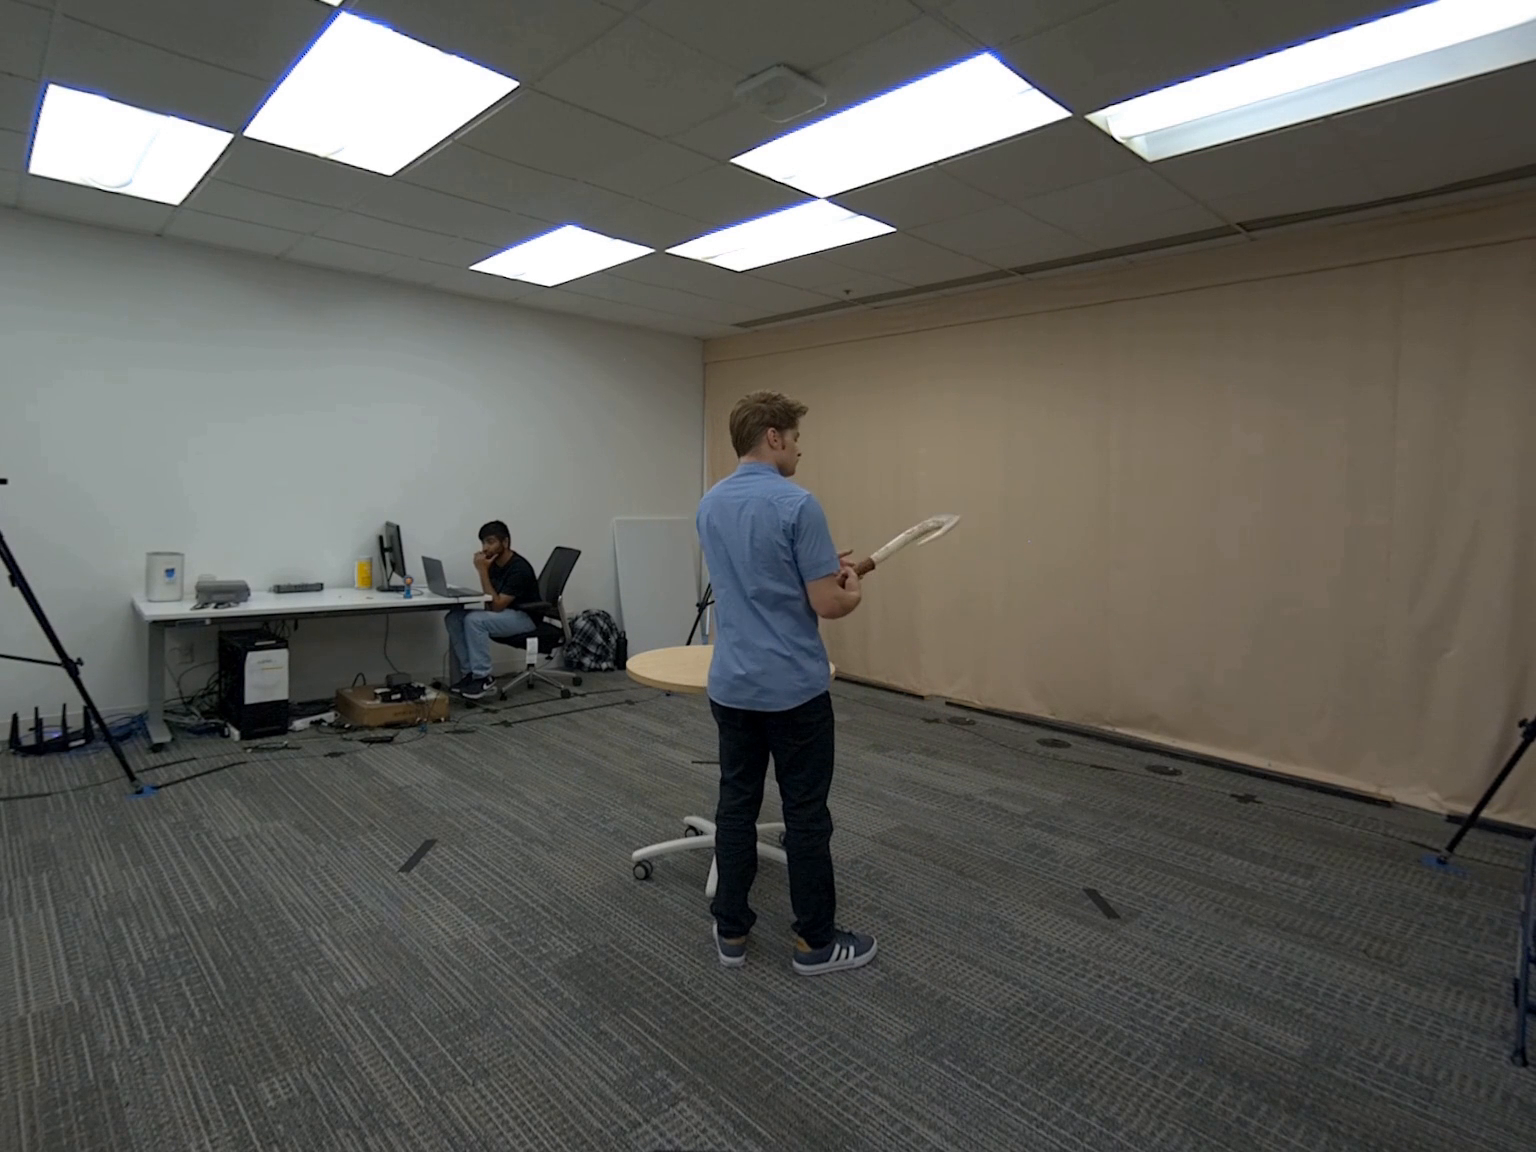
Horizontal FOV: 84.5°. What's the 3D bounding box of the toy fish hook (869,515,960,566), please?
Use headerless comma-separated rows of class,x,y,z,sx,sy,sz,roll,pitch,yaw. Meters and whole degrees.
toy fish hook,0.382,-0.071,2.664,0.505,0.048,0.226,-32,5,-12
